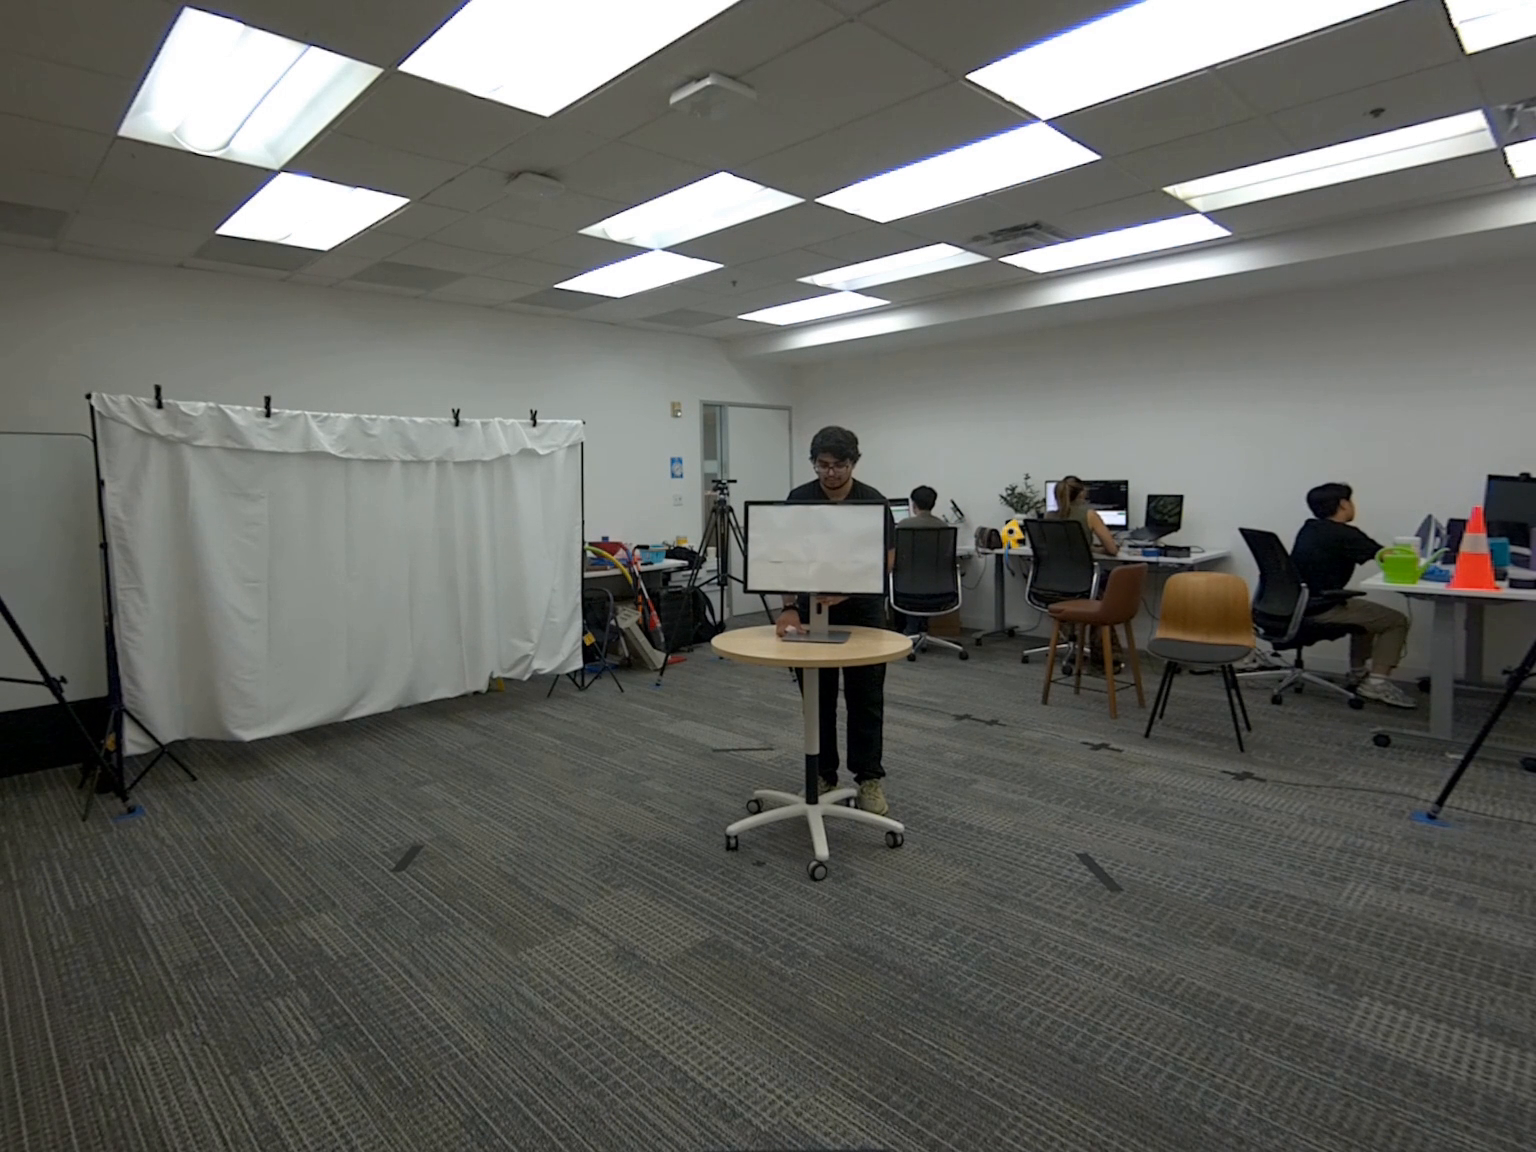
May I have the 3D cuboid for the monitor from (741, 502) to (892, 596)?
[{"bbox_3d":[0.193,-0.021,3.330,0.575,0.553,0.206,1,1,19],"label":"monitor"}]
